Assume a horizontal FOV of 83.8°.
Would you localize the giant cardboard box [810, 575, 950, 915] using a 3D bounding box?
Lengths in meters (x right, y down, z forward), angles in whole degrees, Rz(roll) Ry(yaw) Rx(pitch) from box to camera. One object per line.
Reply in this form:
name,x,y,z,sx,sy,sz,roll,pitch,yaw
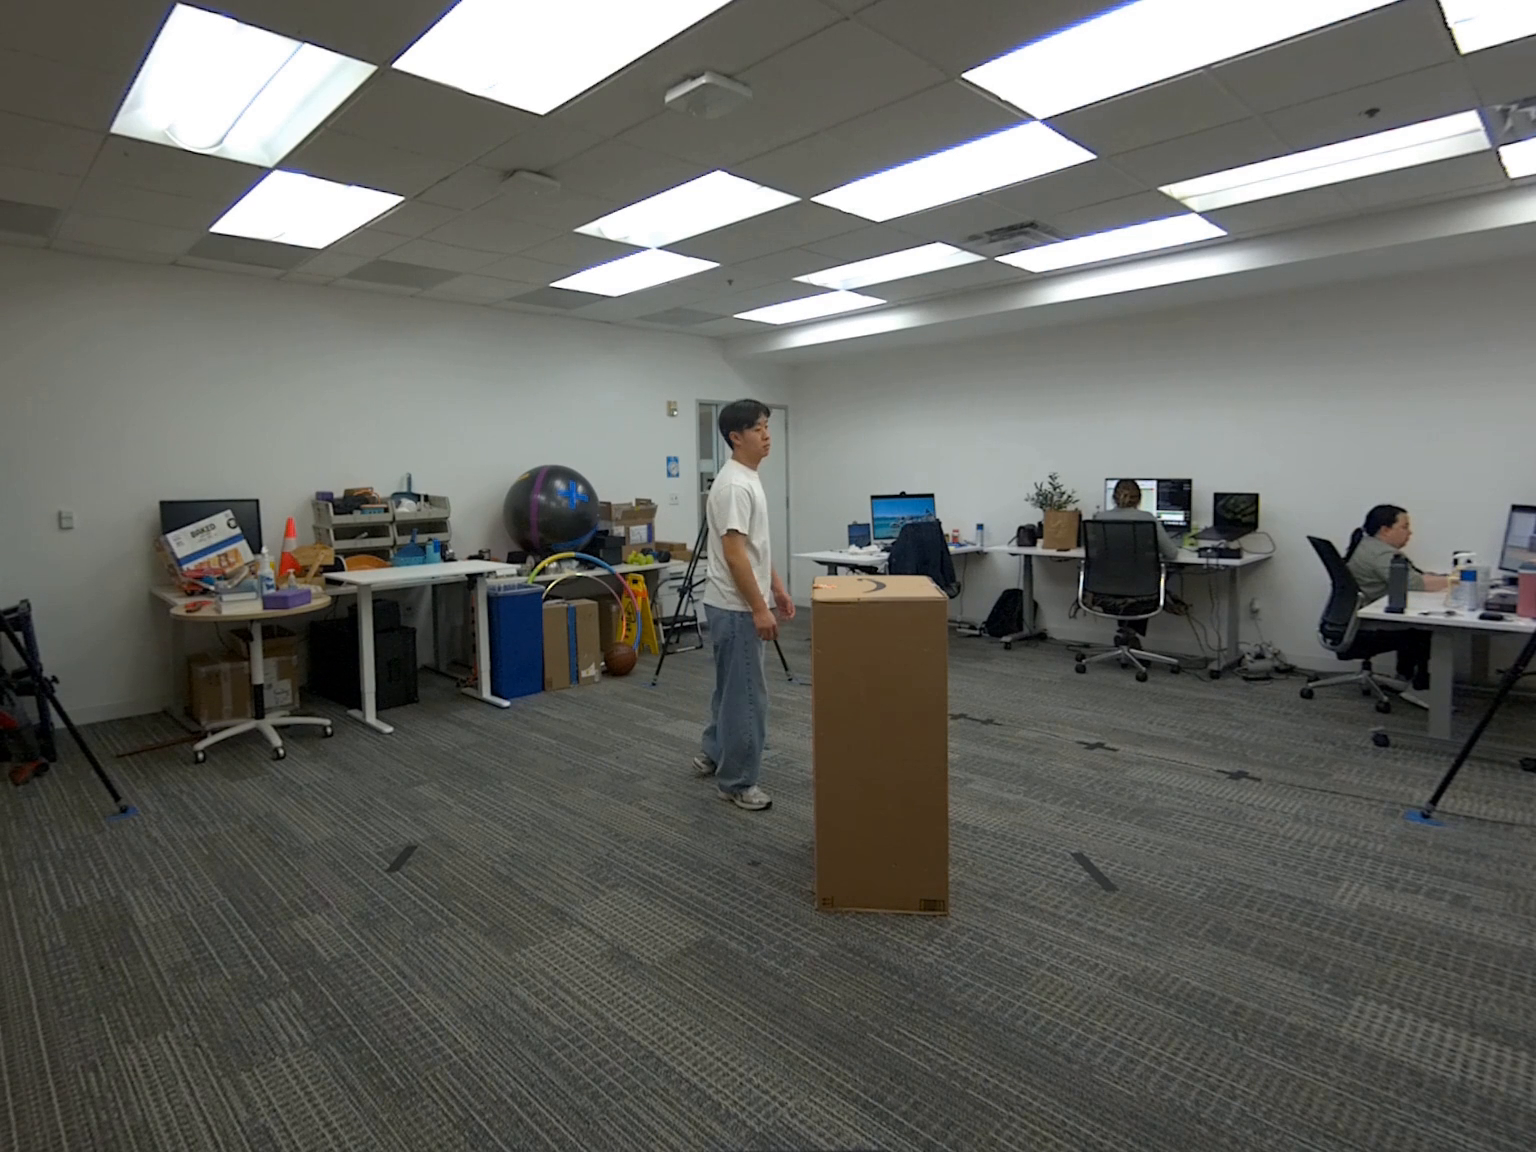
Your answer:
giant cardboard box,0.382,0.542,2.979,0.429,1.022,0.576,-1,4,6
